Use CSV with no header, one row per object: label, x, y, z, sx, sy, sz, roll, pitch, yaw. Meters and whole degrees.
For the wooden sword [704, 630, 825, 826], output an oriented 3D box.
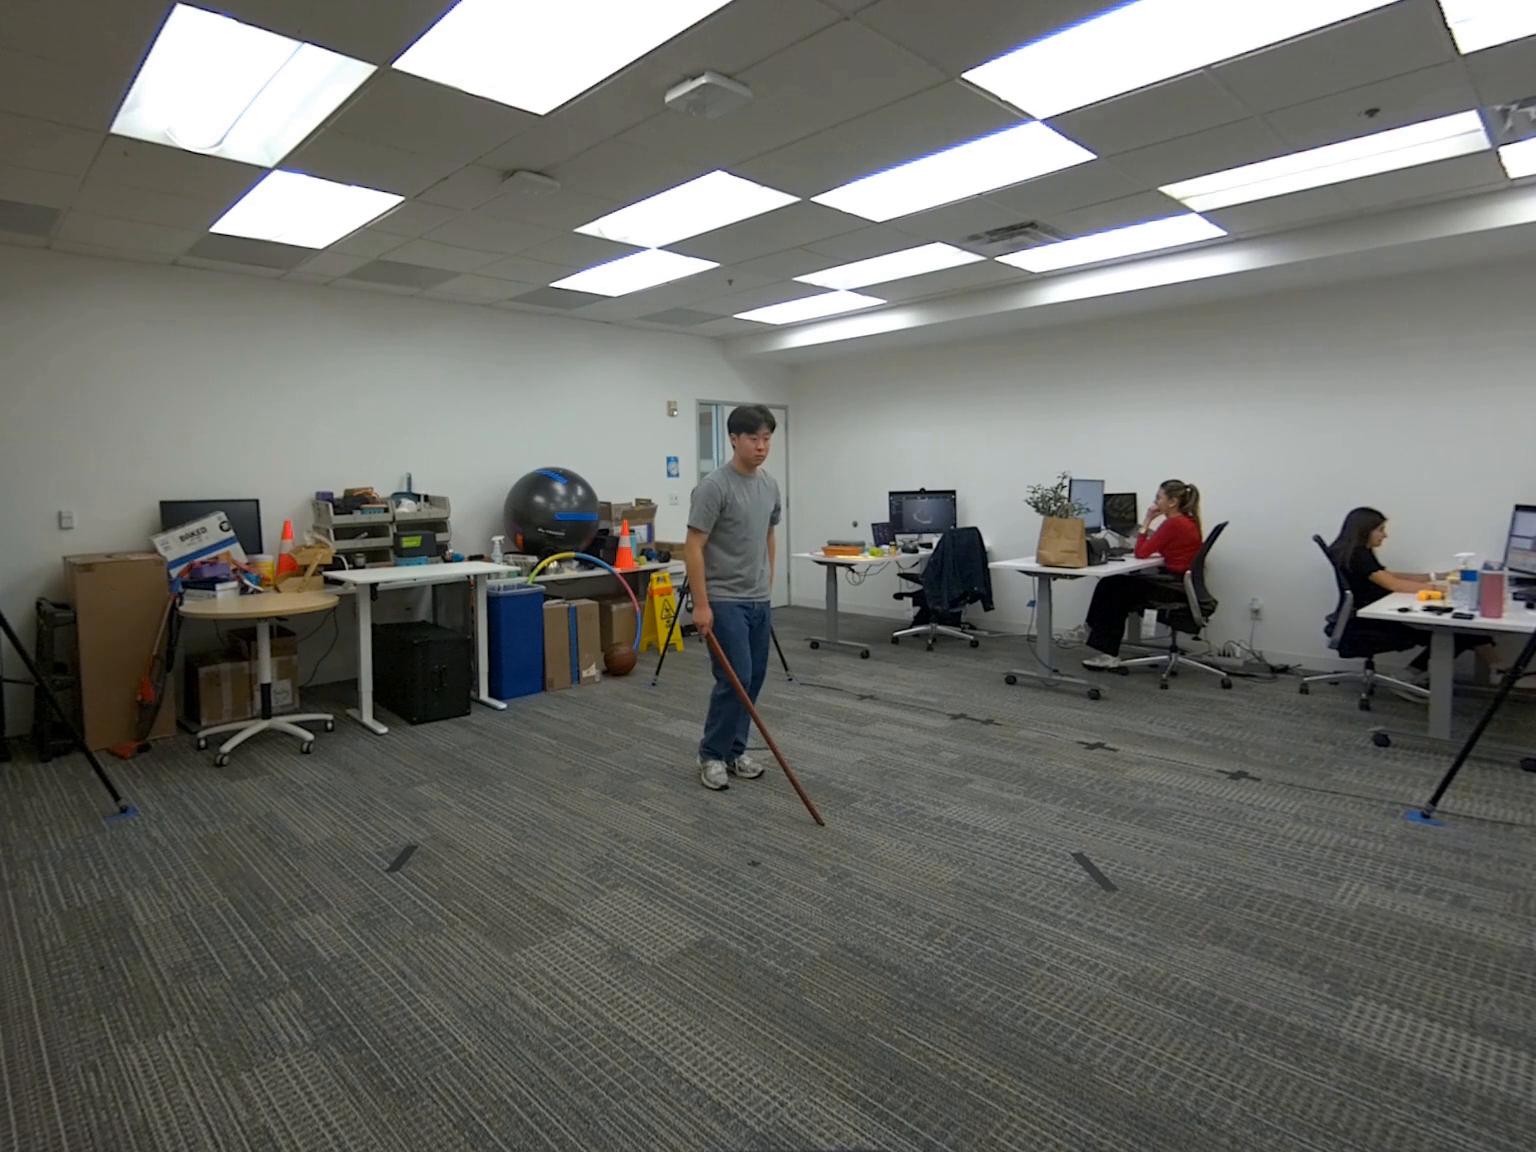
wooden sword,-0.025,0.617,3.627,0.051,1.054,0.023,-38,-23,10
